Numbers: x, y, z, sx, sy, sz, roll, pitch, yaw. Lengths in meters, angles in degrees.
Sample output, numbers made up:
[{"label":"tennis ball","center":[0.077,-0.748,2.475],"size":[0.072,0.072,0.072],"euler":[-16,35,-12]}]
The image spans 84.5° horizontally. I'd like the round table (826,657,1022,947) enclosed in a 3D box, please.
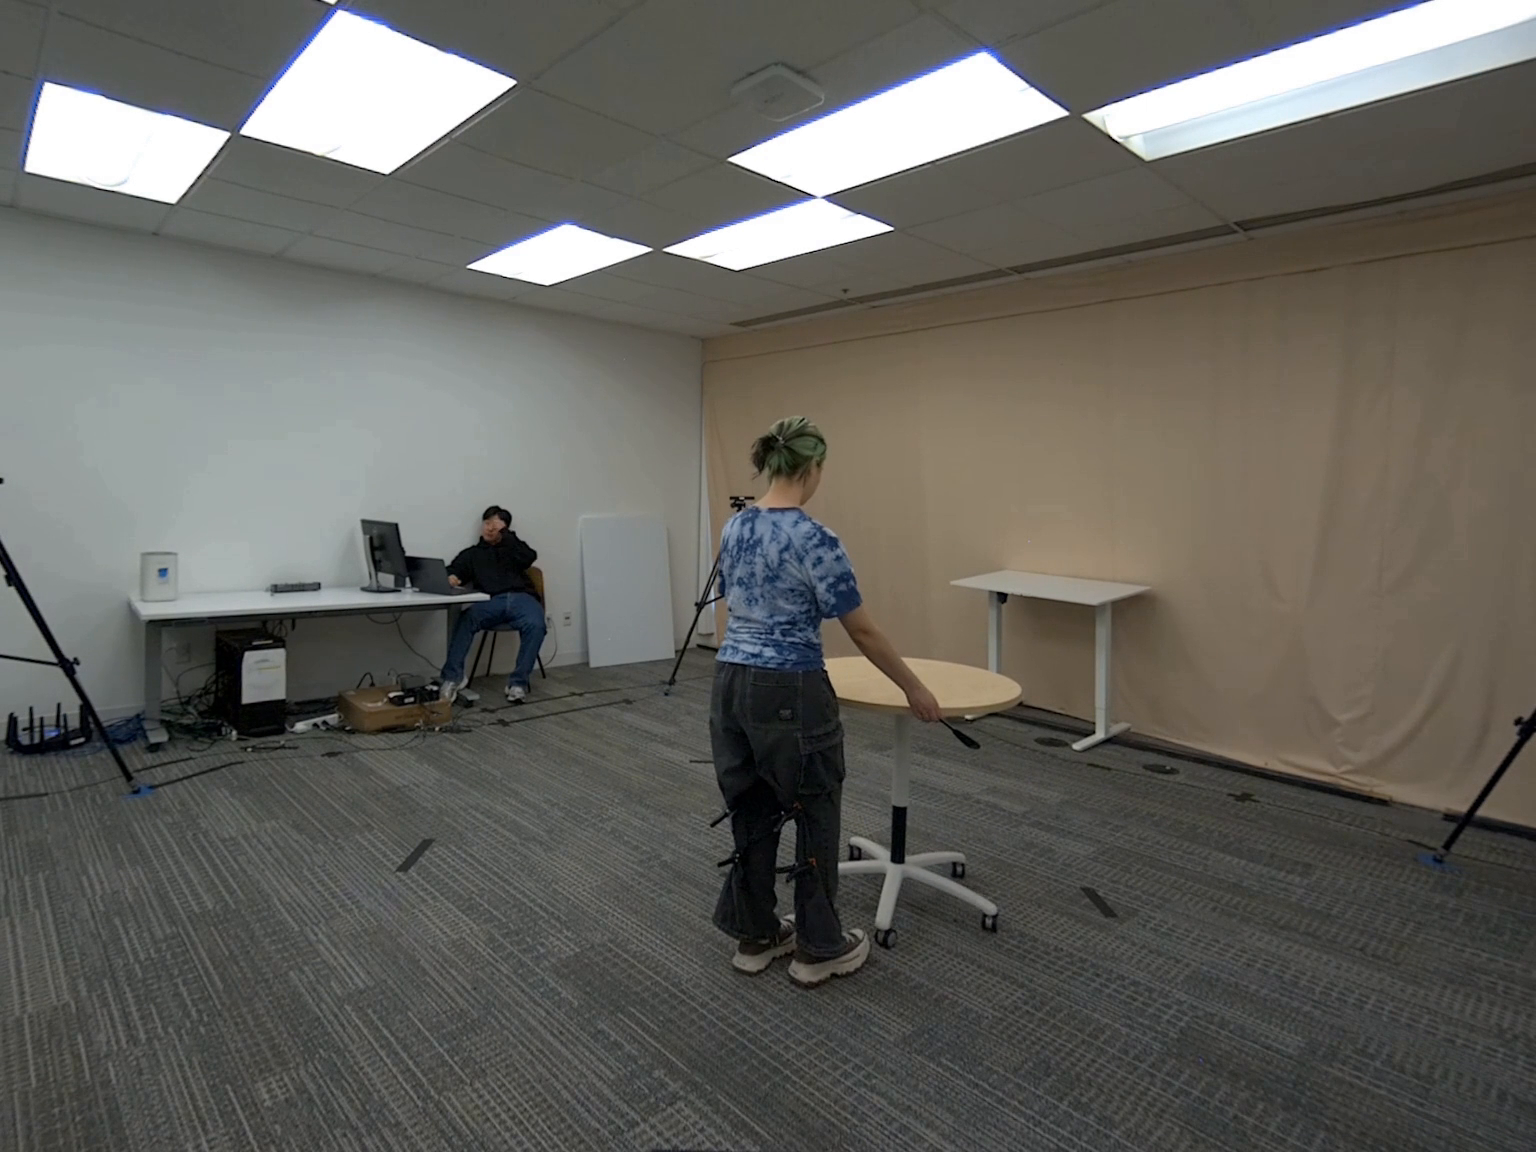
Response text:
[{"label":"round table","center":[0.449,0.746,2.920],"size":[0.763,0.791,0.767],"euler":[2,5,-1]}]
